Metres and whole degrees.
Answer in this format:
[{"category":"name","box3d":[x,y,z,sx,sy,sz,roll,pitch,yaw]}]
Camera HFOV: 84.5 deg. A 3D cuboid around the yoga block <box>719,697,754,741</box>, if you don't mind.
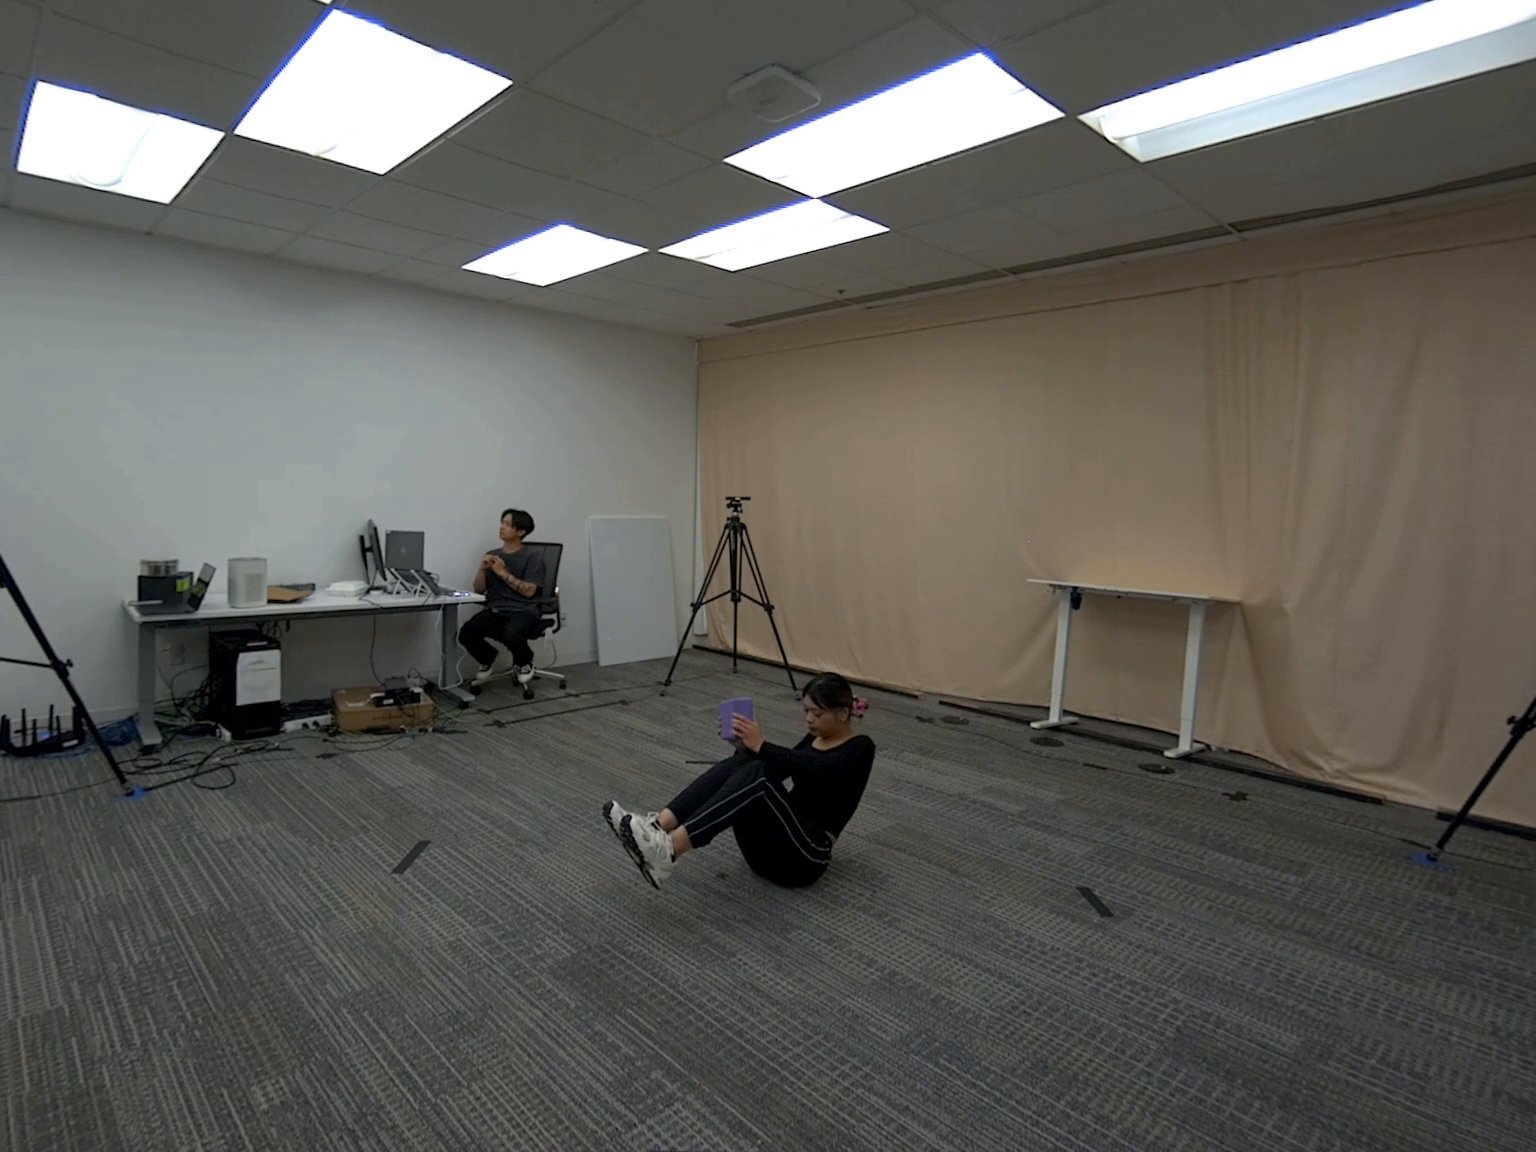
[{"category":"yoga block","box3d":[-0.113,0.550,3.208,0.075,0.150,0.229,0,-12,-14]}]
